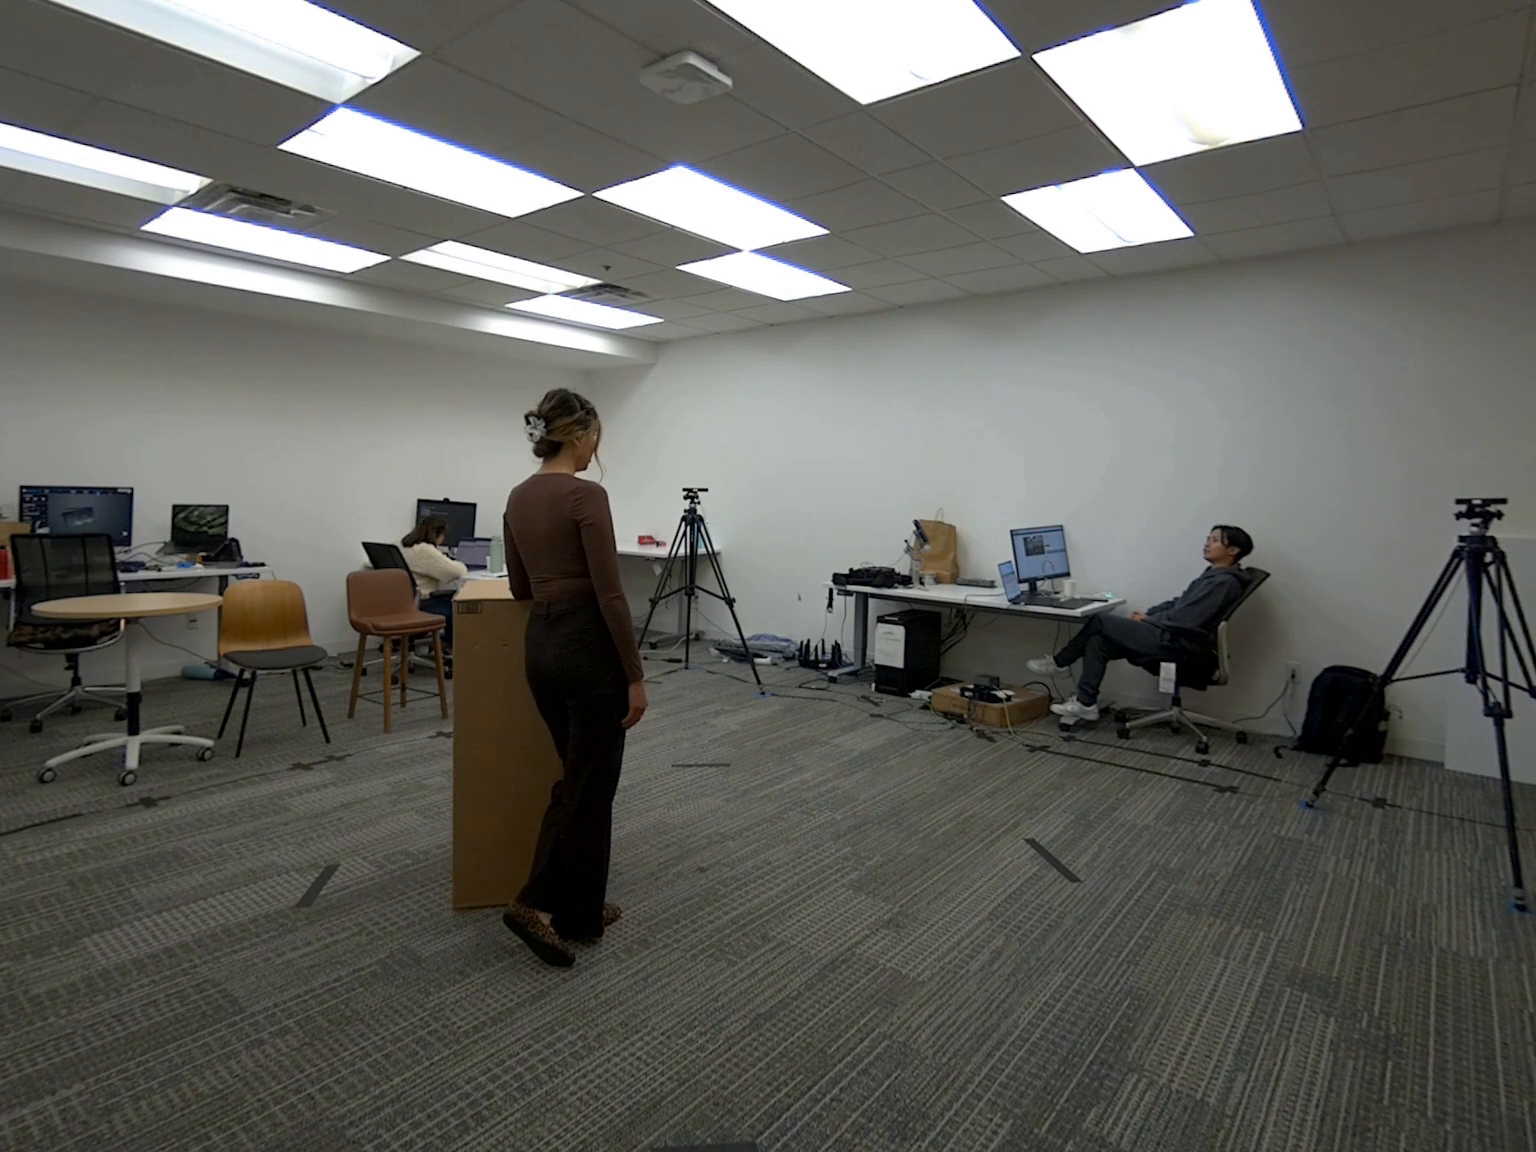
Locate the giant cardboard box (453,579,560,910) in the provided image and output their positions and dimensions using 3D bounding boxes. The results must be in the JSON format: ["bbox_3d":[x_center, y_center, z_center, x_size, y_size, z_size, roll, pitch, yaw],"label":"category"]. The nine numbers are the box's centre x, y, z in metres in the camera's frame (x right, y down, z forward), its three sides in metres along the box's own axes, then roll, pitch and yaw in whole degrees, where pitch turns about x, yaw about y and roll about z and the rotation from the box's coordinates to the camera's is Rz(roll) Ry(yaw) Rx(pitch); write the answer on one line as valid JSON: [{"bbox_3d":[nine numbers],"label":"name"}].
[{"bbox_3d":[-0.908,0.553,3.079,0.440,1.024,0.594,0,3,-15],"label":"giant cardboard box"}]
